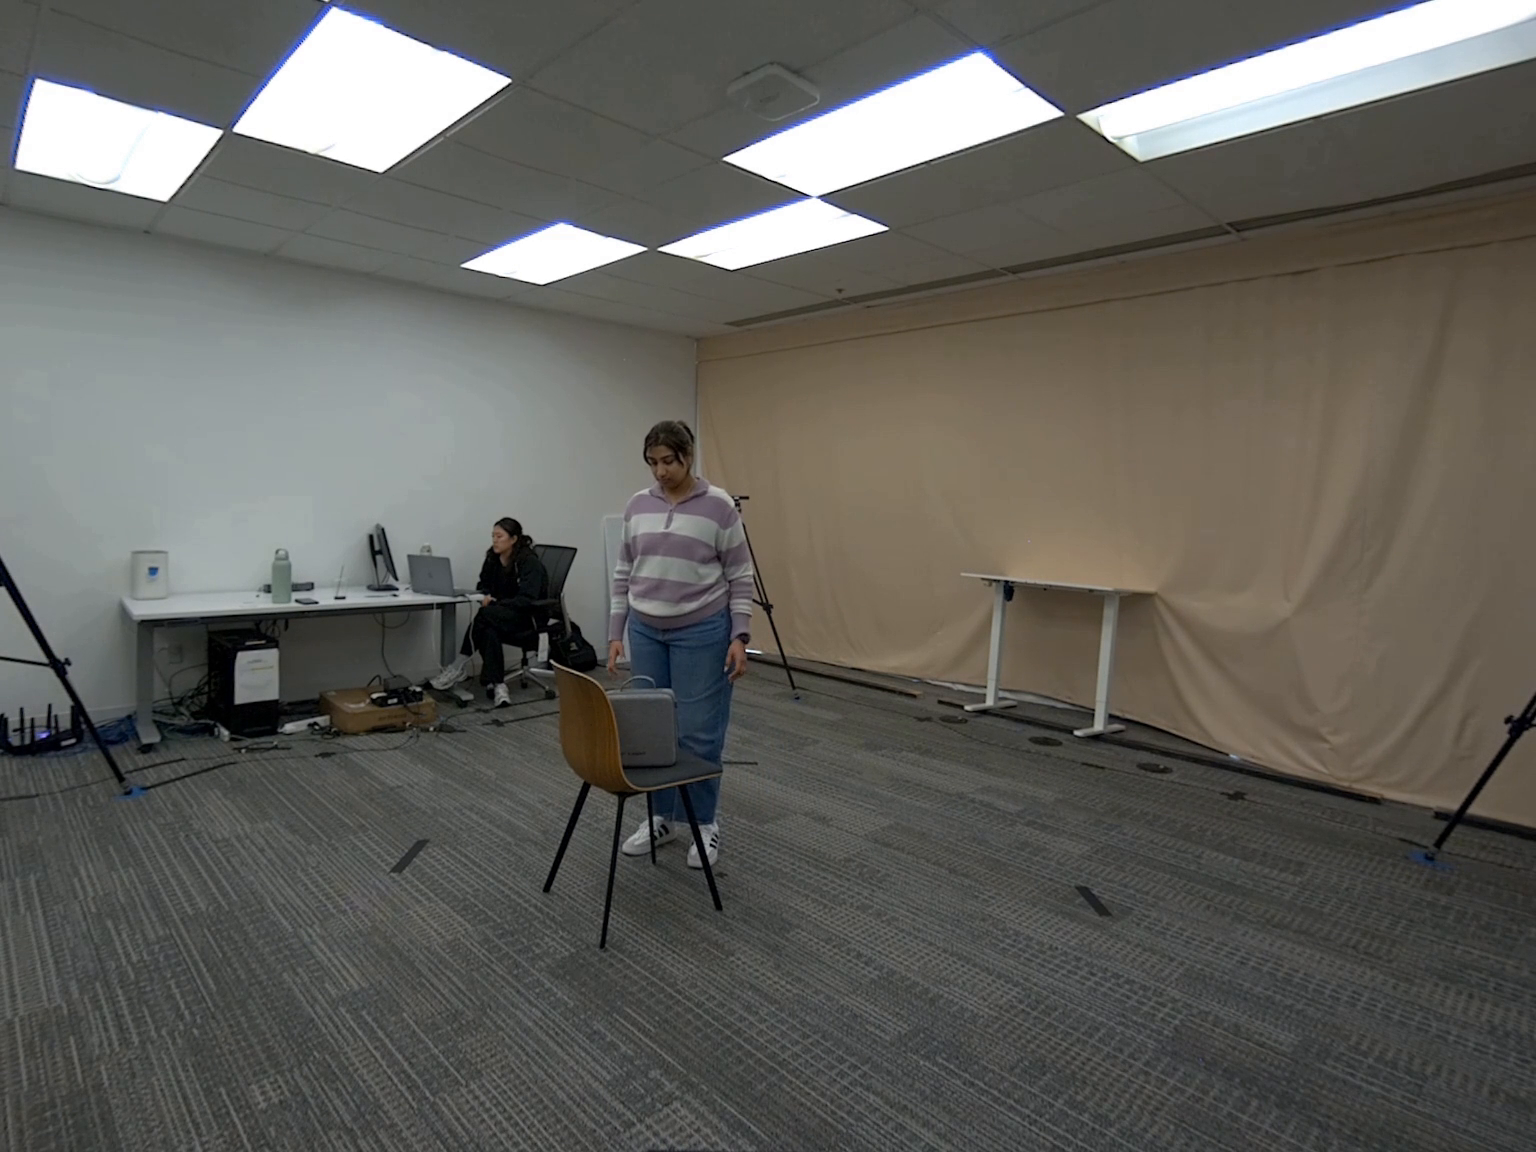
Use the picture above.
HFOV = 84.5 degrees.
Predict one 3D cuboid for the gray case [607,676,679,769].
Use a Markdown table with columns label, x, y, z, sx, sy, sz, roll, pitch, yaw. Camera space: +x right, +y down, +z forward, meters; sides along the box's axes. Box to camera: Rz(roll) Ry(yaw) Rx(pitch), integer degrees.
| label | x | y | z | sx | sy | sz | roll | pitch | yaw |
| --- | --- | --- | --- | --- | --- | --- | --- | --- | --- |
| gray case | -0.454 | 0.510 | 2.859 | 0.257 | 0.260 | 0.104 | -1 | 5 | 3 |
